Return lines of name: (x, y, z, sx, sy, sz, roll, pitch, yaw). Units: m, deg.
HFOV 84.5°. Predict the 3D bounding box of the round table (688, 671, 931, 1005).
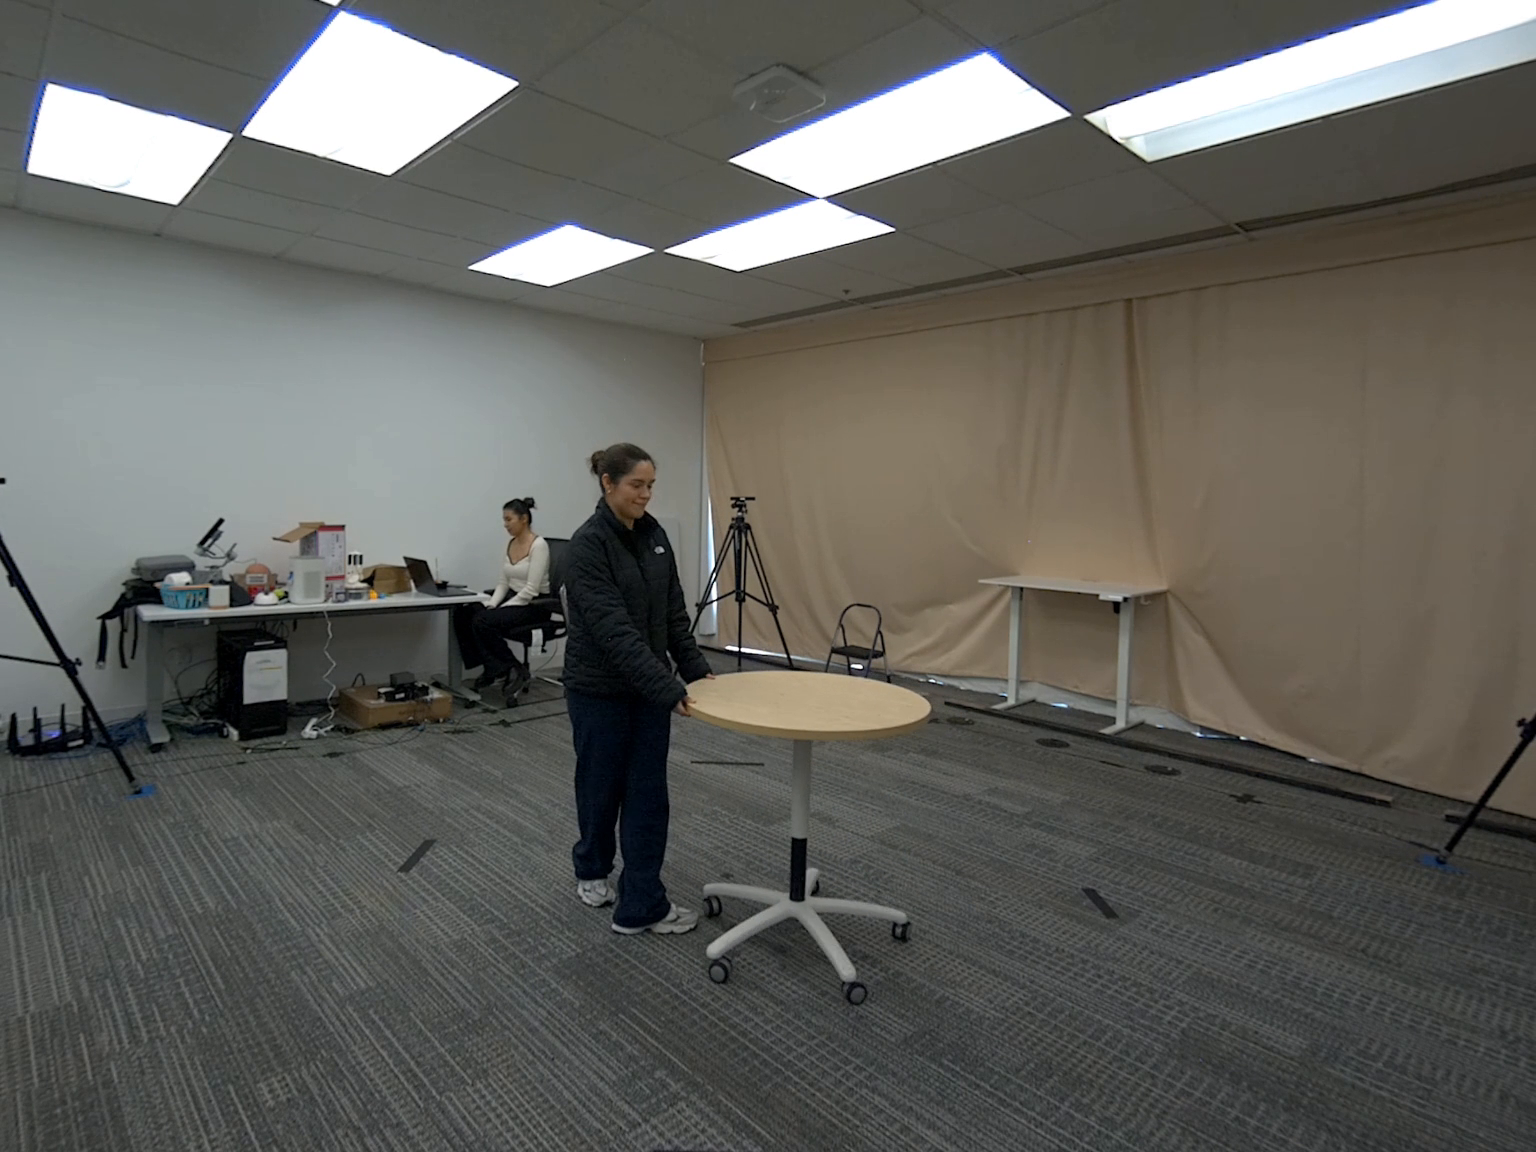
round table: (0.091, 0.762, 2.625, 0.784, 0.784, 0.788, 2, 4, -1)
